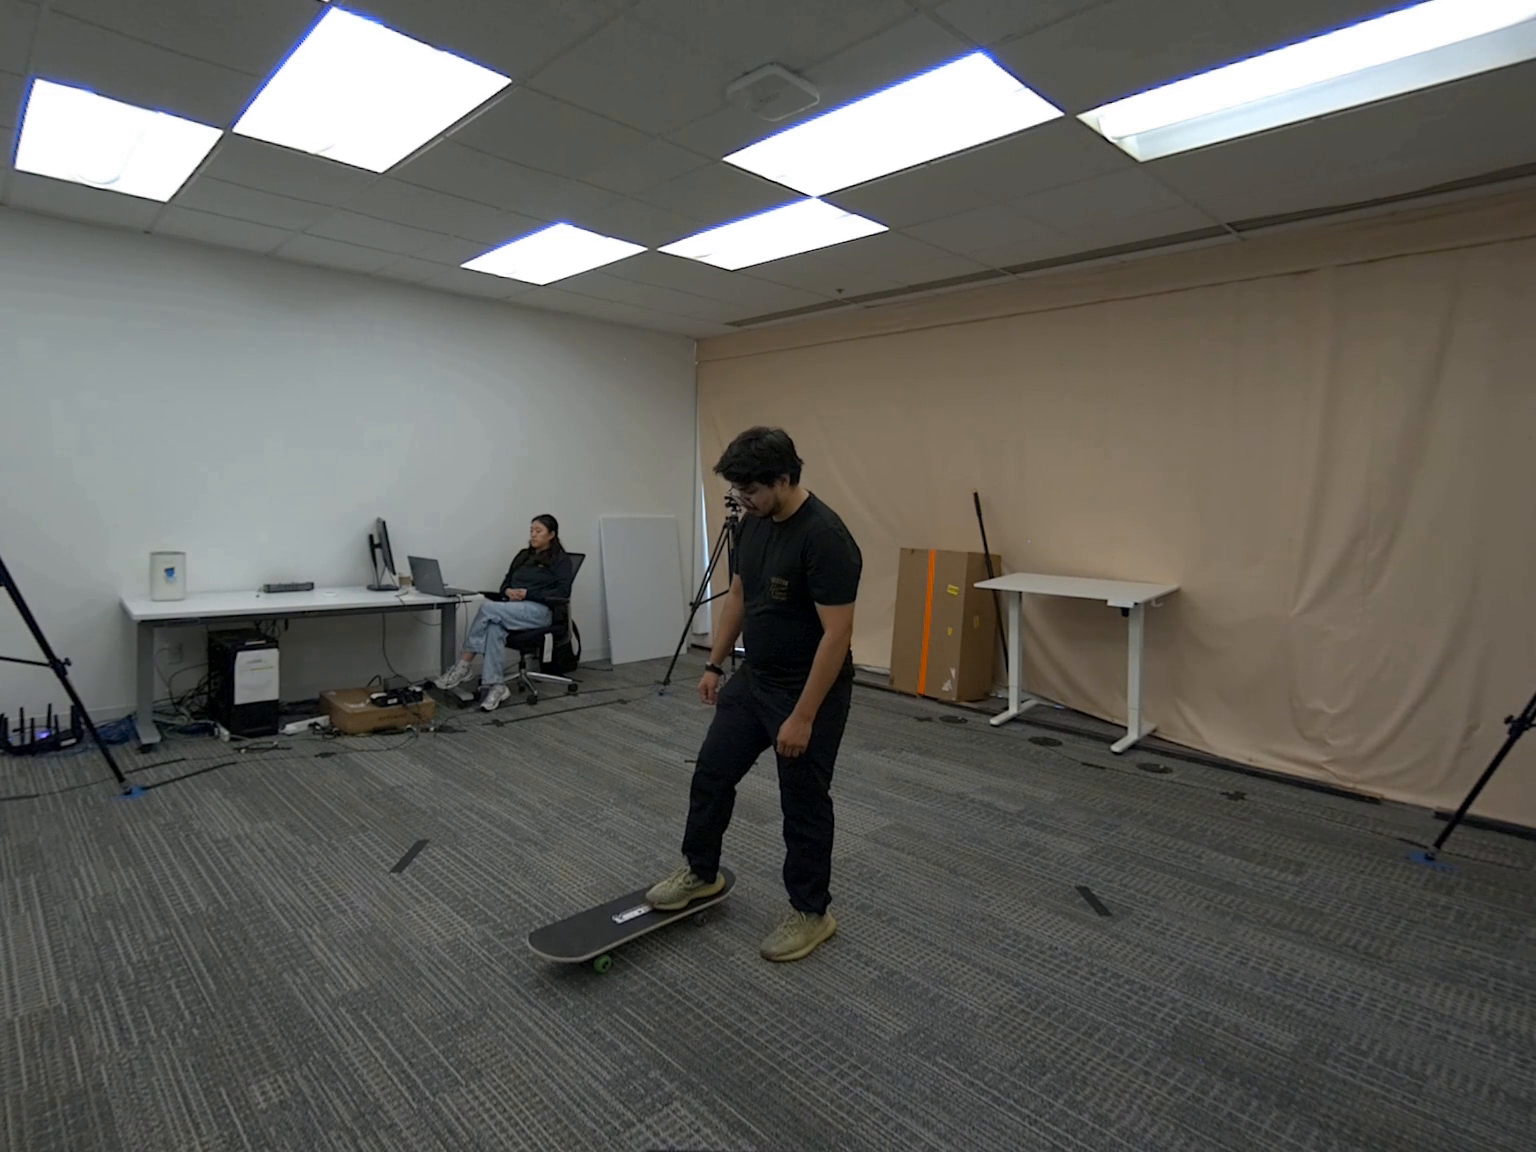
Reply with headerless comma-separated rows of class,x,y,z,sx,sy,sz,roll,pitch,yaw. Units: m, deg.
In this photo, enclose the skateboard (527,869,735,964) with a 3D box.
skateboard,-0.409,1.084,2.639,0.199,0.110,0.767,11,10,42
